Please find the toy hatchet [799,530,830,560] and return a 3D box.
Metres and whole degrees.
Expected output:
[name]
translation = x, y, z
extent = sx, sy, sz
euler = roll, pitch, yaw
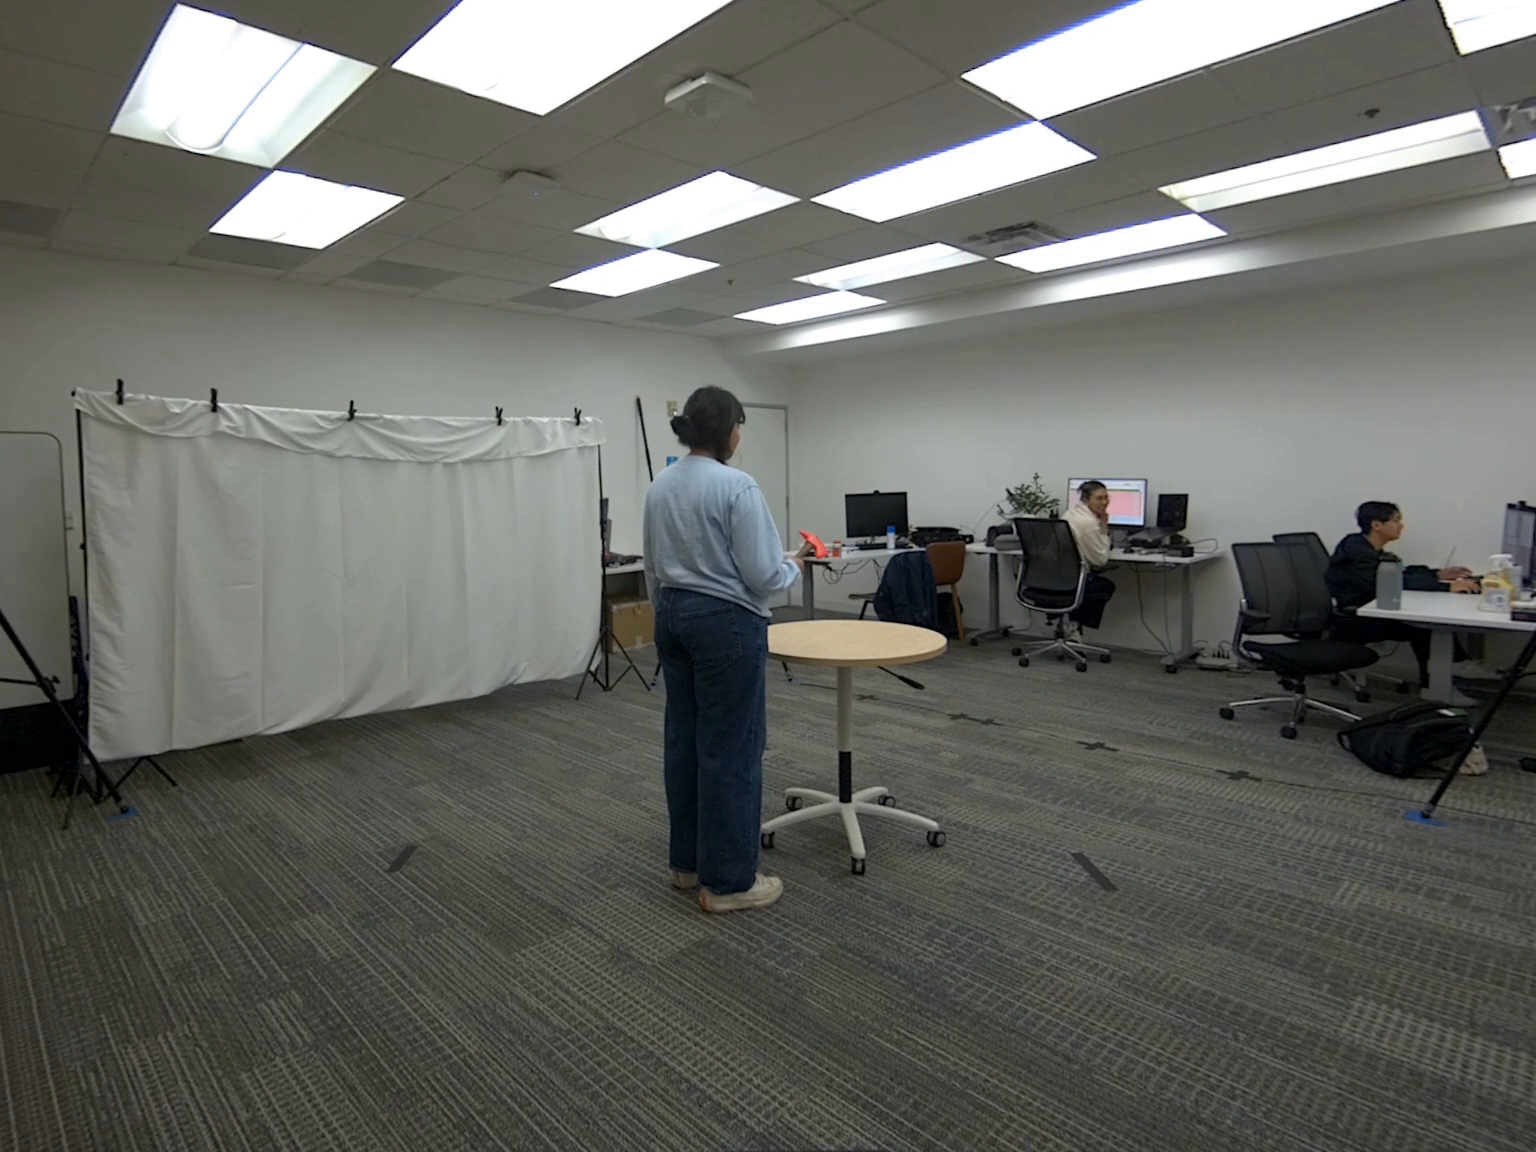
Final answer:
[toy hatchet]
translation = 0.135, -0.046, 3.038
extent = 0.130, 0.274, 0.029
euler = 26, -44, -6
